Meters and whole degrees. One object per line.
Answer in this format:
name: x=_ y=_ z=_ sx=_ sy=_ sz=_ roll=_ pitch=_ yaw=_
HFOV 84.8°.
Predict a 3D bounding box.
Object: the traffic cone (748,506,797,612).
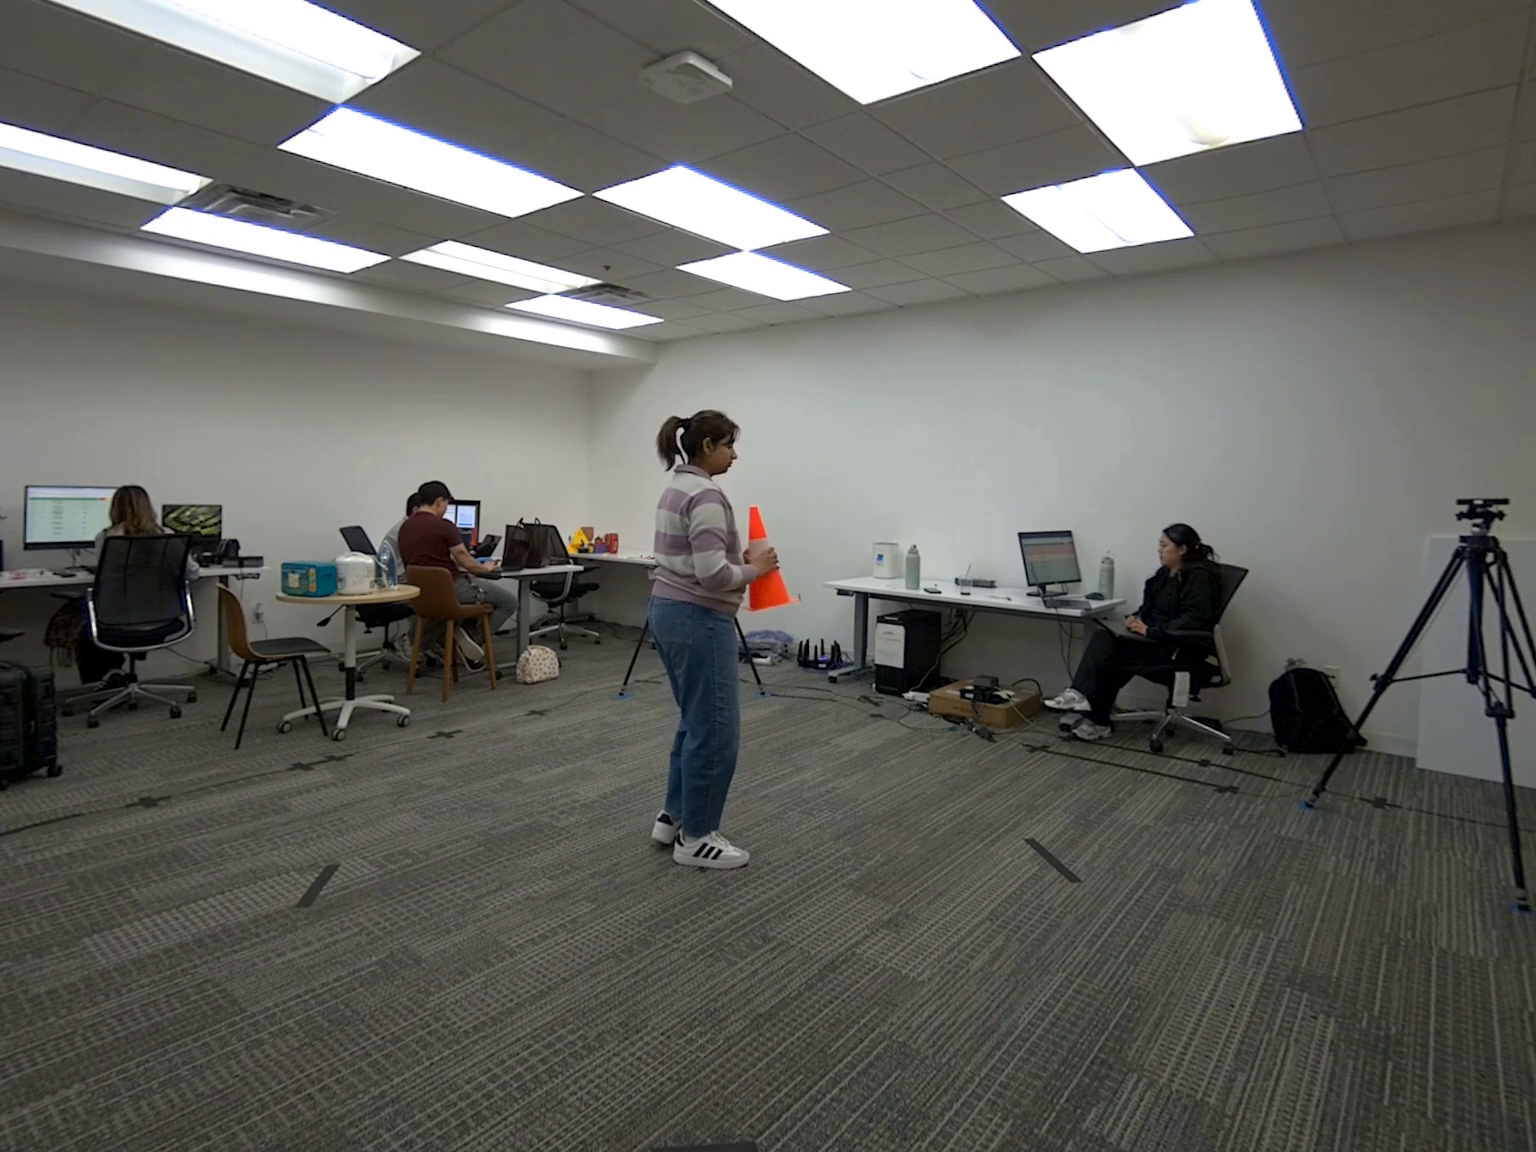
traffic cone: x=-0.041 y=-0.077 z=3.274 sx=0.201 sy=0.381 sz=0.208 roll=-10 pitch=5 yaw=-11
